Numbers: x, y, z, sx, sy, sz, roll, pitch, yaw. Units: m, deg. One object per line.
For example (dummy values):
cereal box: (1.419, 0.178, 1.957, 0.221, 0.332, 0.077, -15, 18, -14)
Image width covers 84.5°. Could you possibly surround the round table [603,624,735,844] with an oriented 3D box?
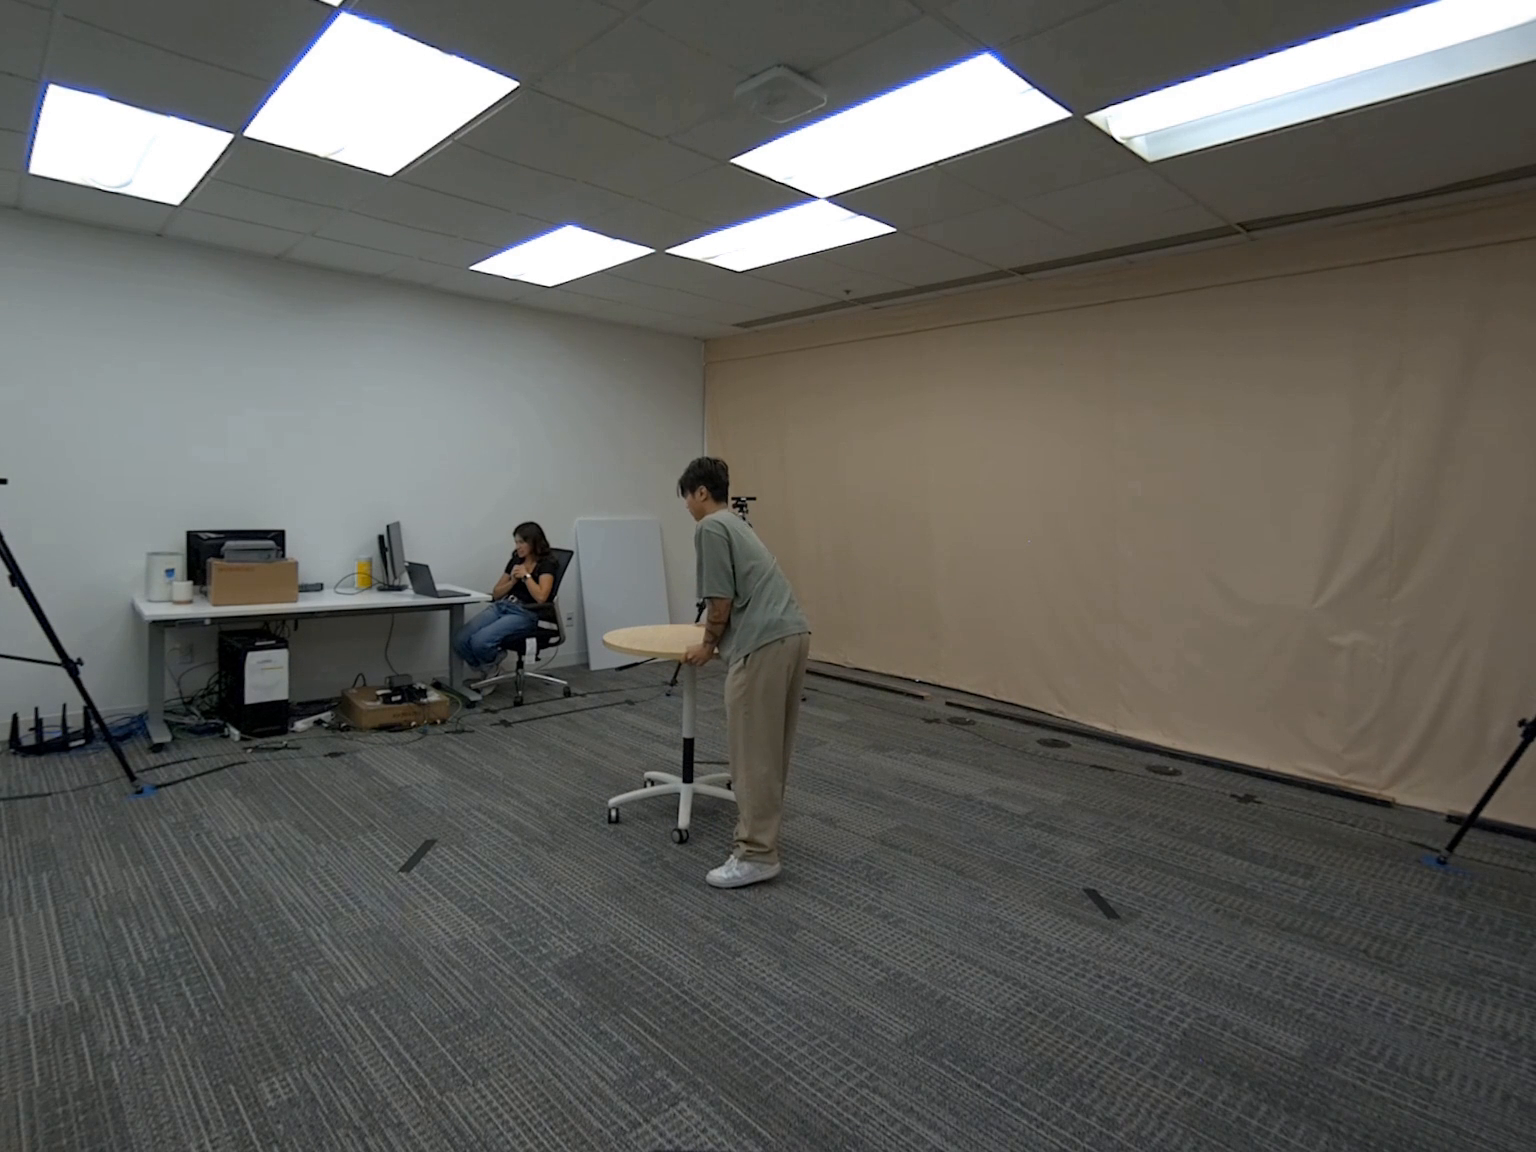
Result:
round table: (-0.348, 0.656, 3.708, 0.784, 0.784, 0.788, 1, 4, -1)
